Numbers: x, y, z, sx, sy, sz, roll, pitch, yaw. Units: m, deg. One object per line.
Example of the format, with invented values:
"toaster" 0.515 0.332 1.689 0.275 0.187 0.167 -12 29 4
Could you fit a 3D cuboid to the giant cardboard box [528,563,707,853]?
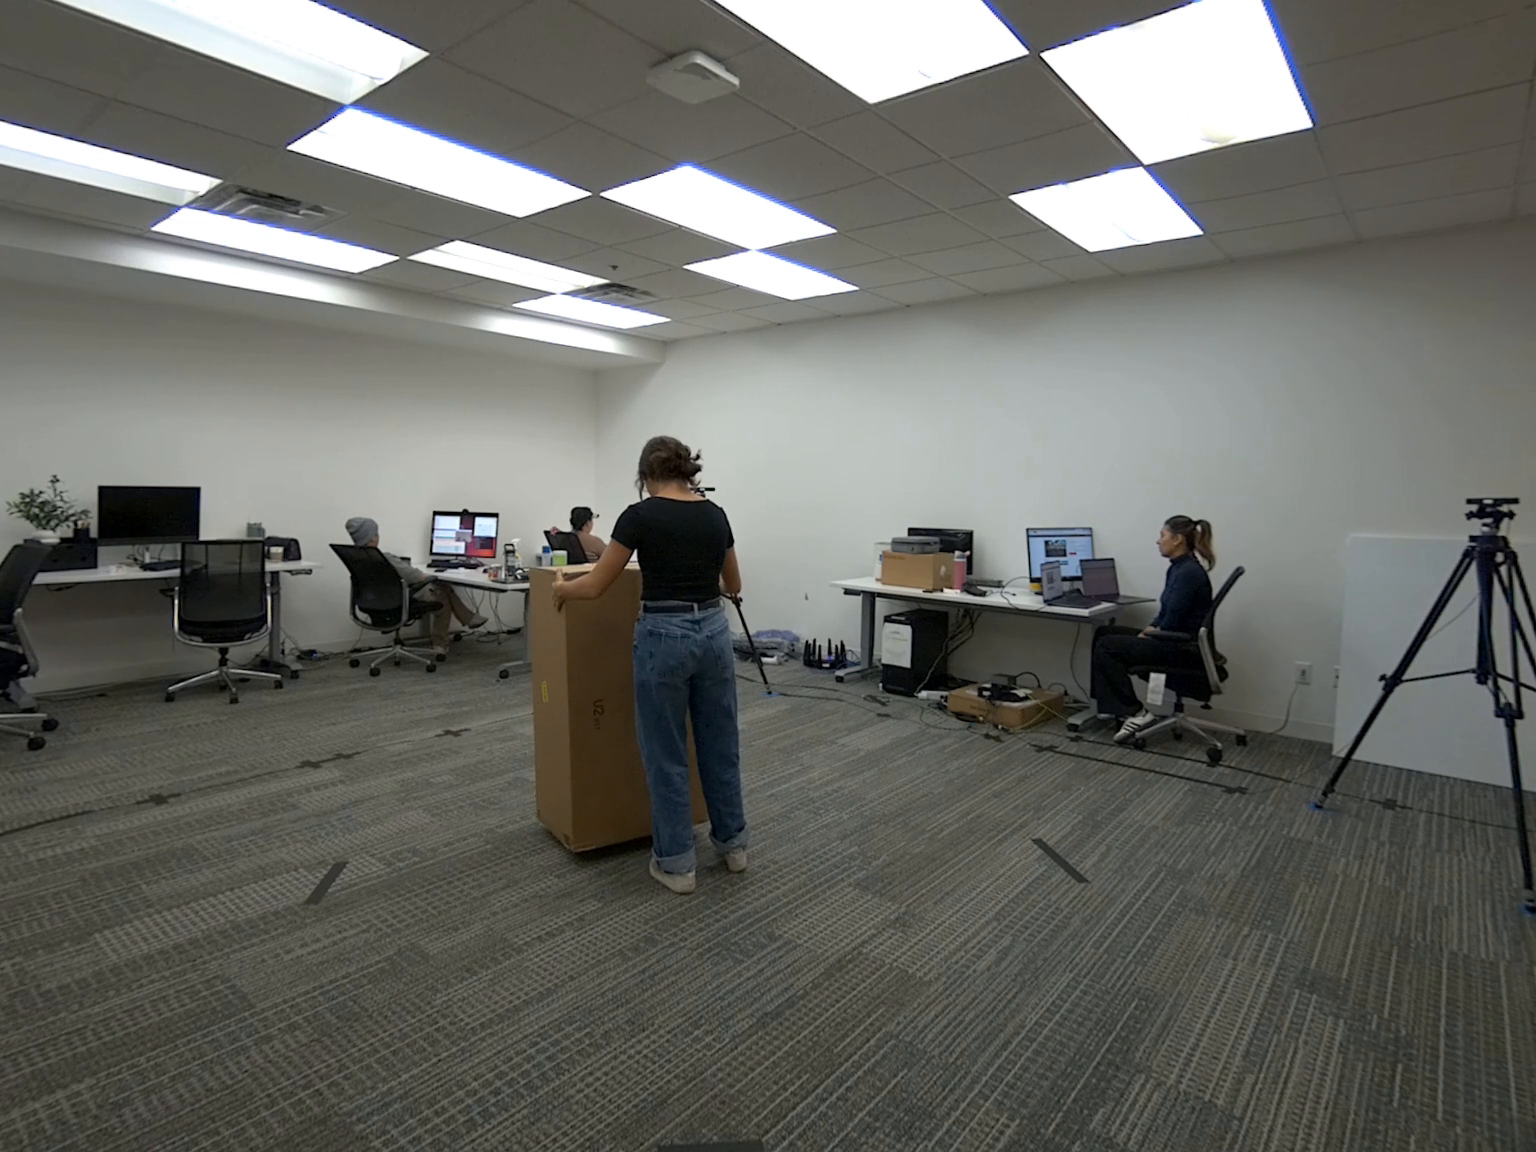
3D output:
"giant cardboard box" -0.613 0.471 3.398 0.562 1.024 0.438 -3 2 -32
